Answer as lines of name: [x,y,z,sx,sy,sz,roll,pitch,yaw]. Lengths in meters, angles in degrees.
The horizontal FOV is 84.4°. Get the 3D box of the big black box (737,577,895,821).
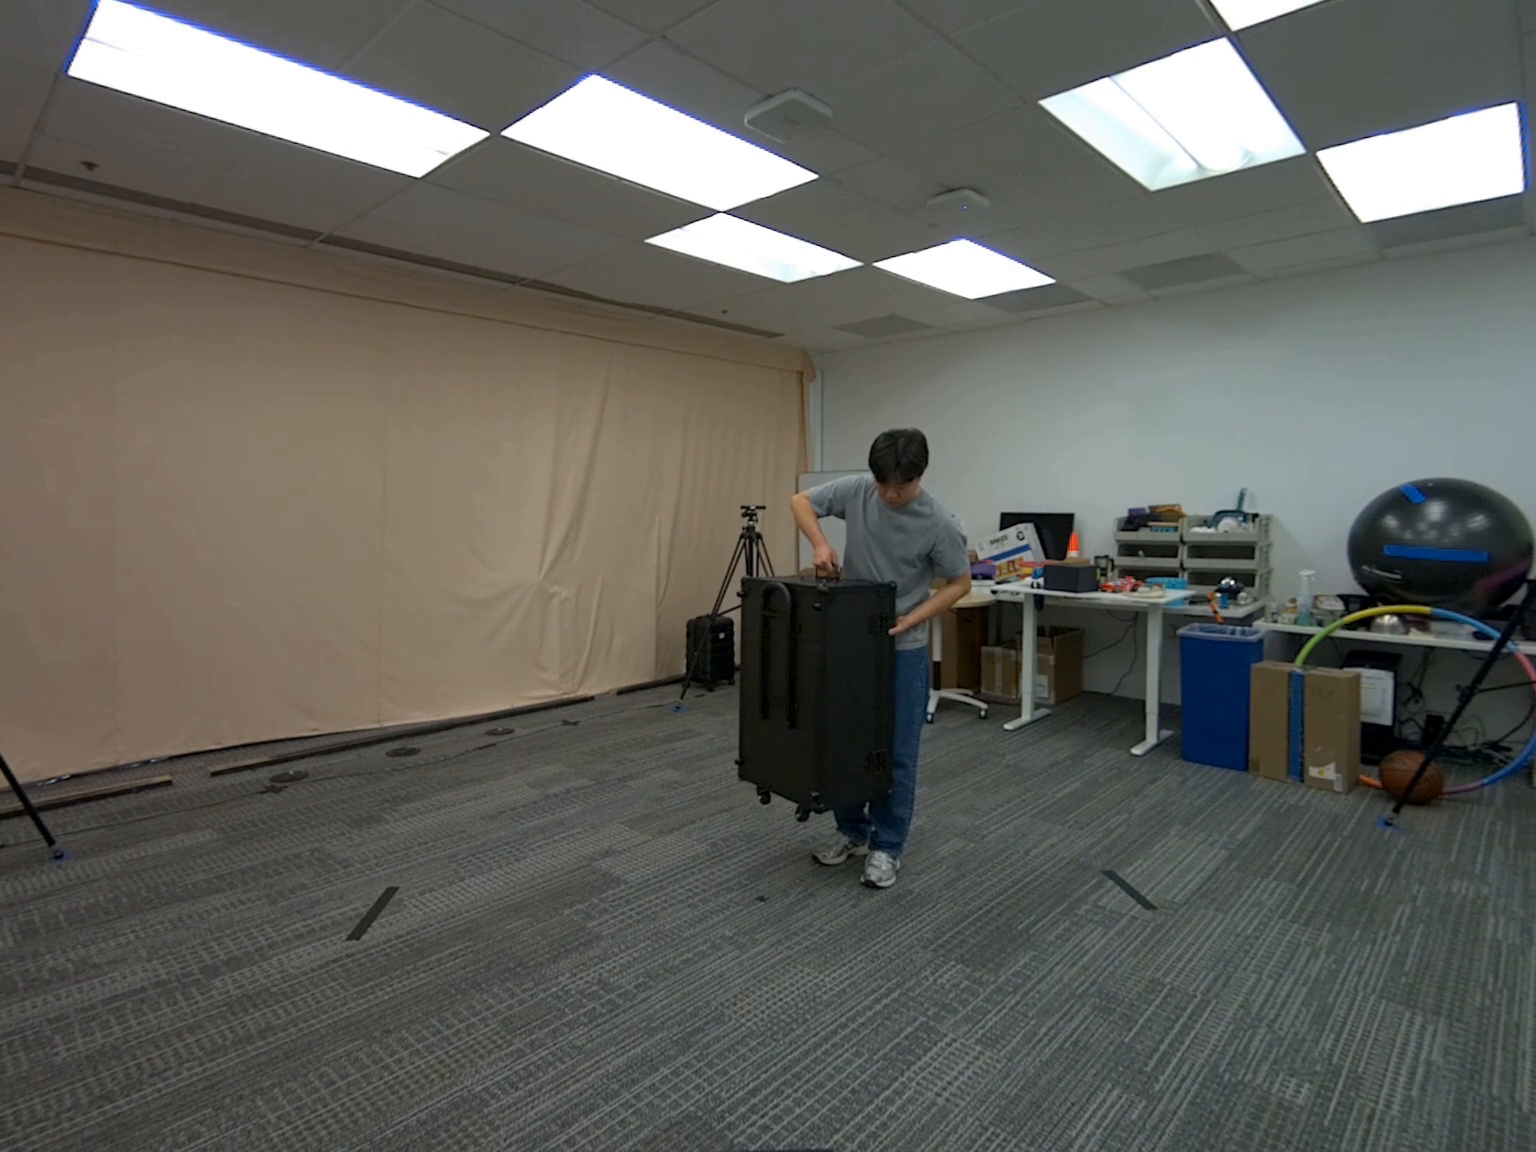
big black box: [0.165,0.384,3.156,0.384,0.860,0.538,0,2,-35]
